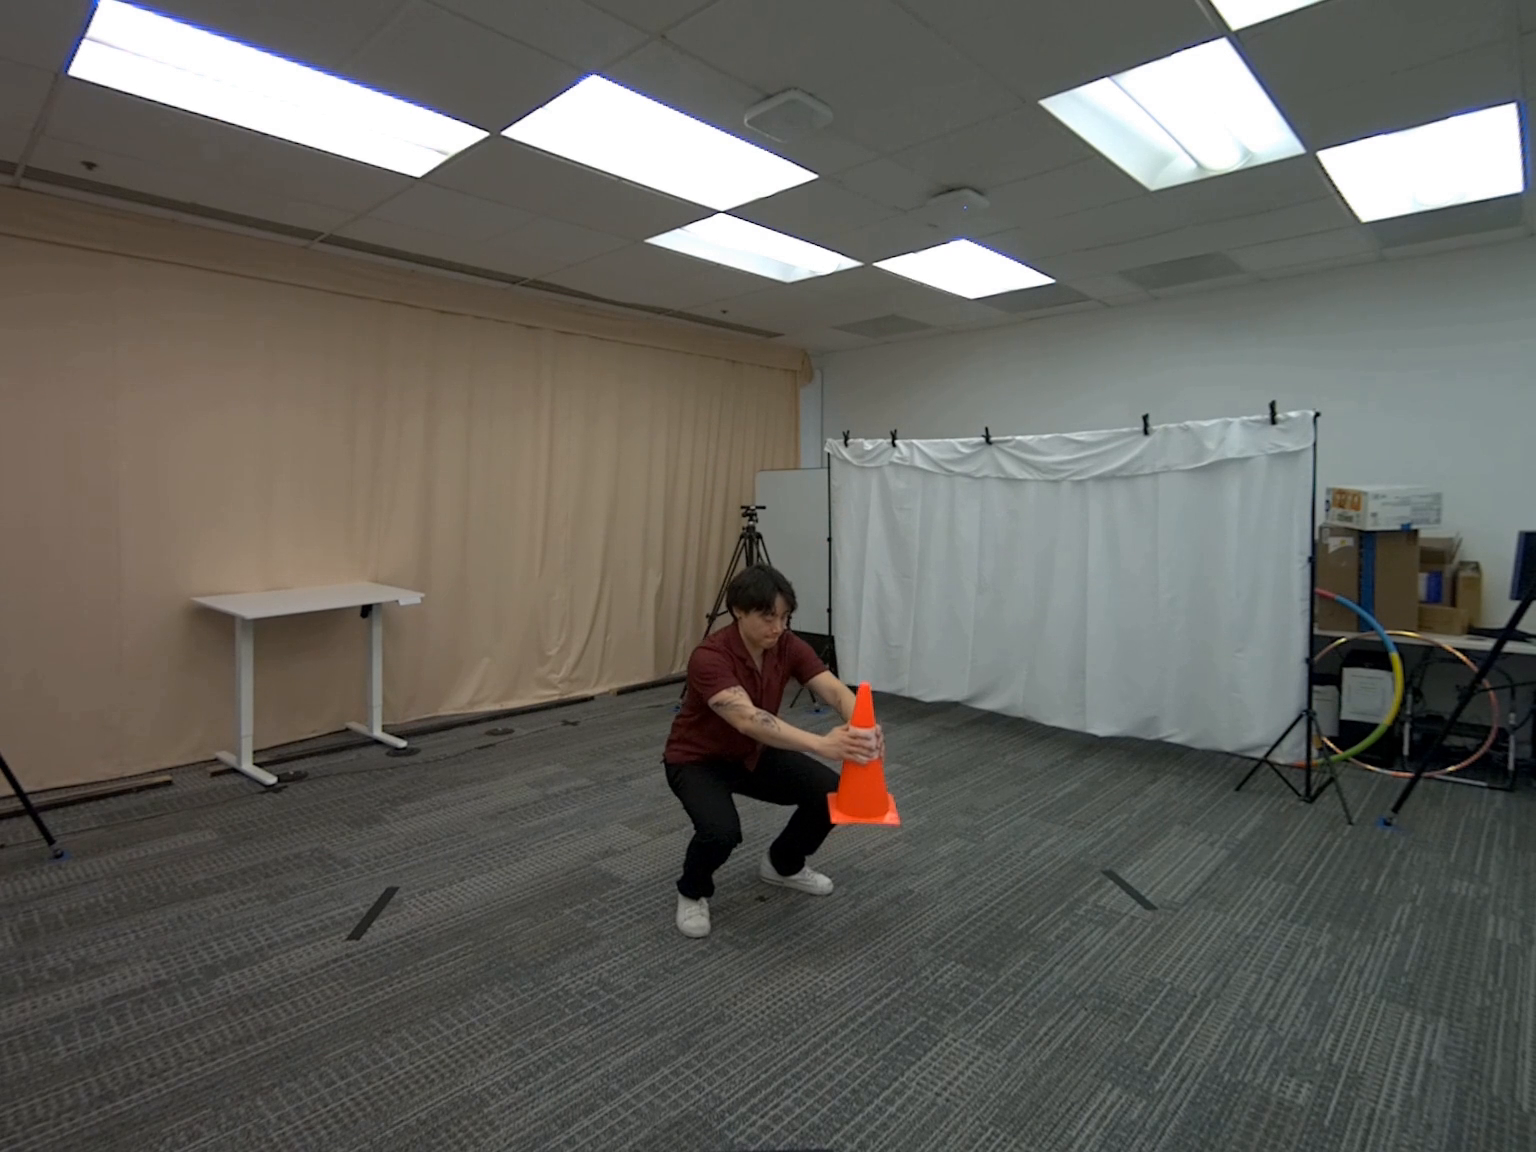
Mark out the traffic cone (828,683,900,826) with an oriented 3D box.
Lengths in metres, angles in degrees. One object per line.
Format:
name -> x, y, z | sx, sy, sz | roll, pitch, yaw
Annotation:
traffic cone -> 0.282, 0.498, 2.470 | 0.205, 0.382, 0.204 | -1, 6, 6
